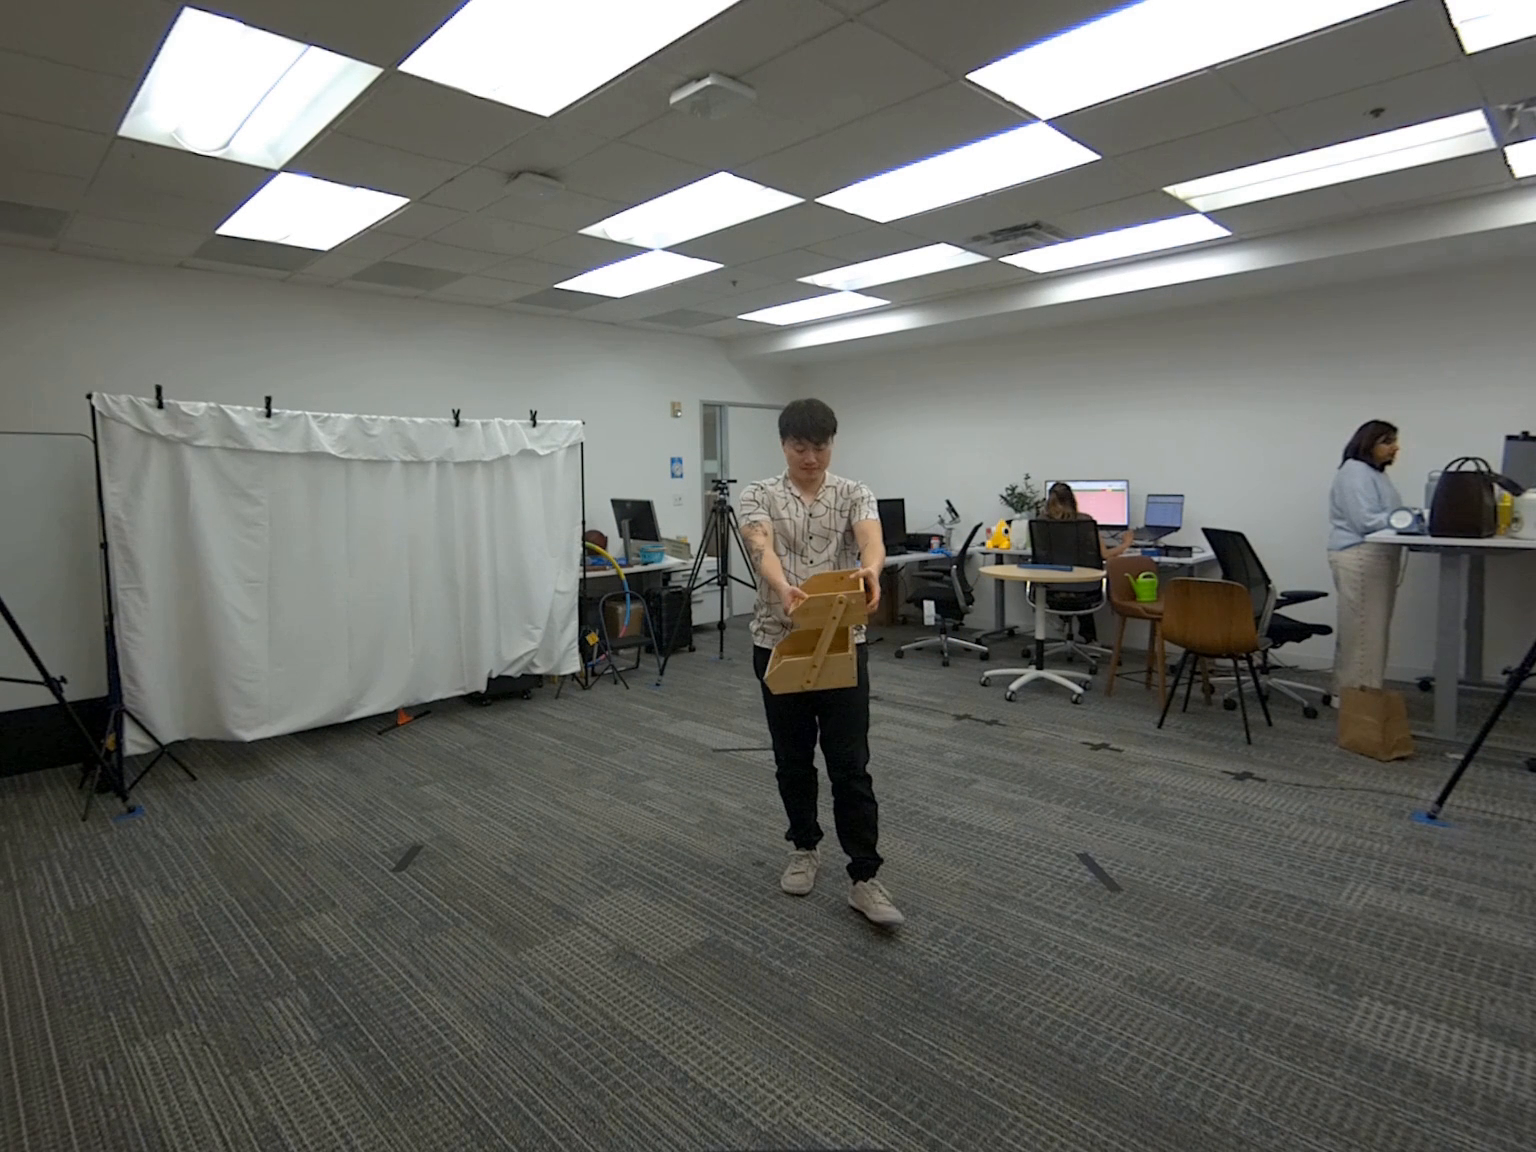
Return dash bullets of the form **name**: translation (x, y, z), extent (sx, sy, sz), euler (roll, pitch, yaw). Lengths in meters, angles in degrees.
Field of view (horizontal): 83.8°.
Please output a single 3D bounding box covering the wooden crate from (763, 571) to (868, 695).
- **wooden crate**: translation (0.127, 0.144, 2.442), extent (0.304, 0.271, 0.325), euler (-7, 10, 7)
